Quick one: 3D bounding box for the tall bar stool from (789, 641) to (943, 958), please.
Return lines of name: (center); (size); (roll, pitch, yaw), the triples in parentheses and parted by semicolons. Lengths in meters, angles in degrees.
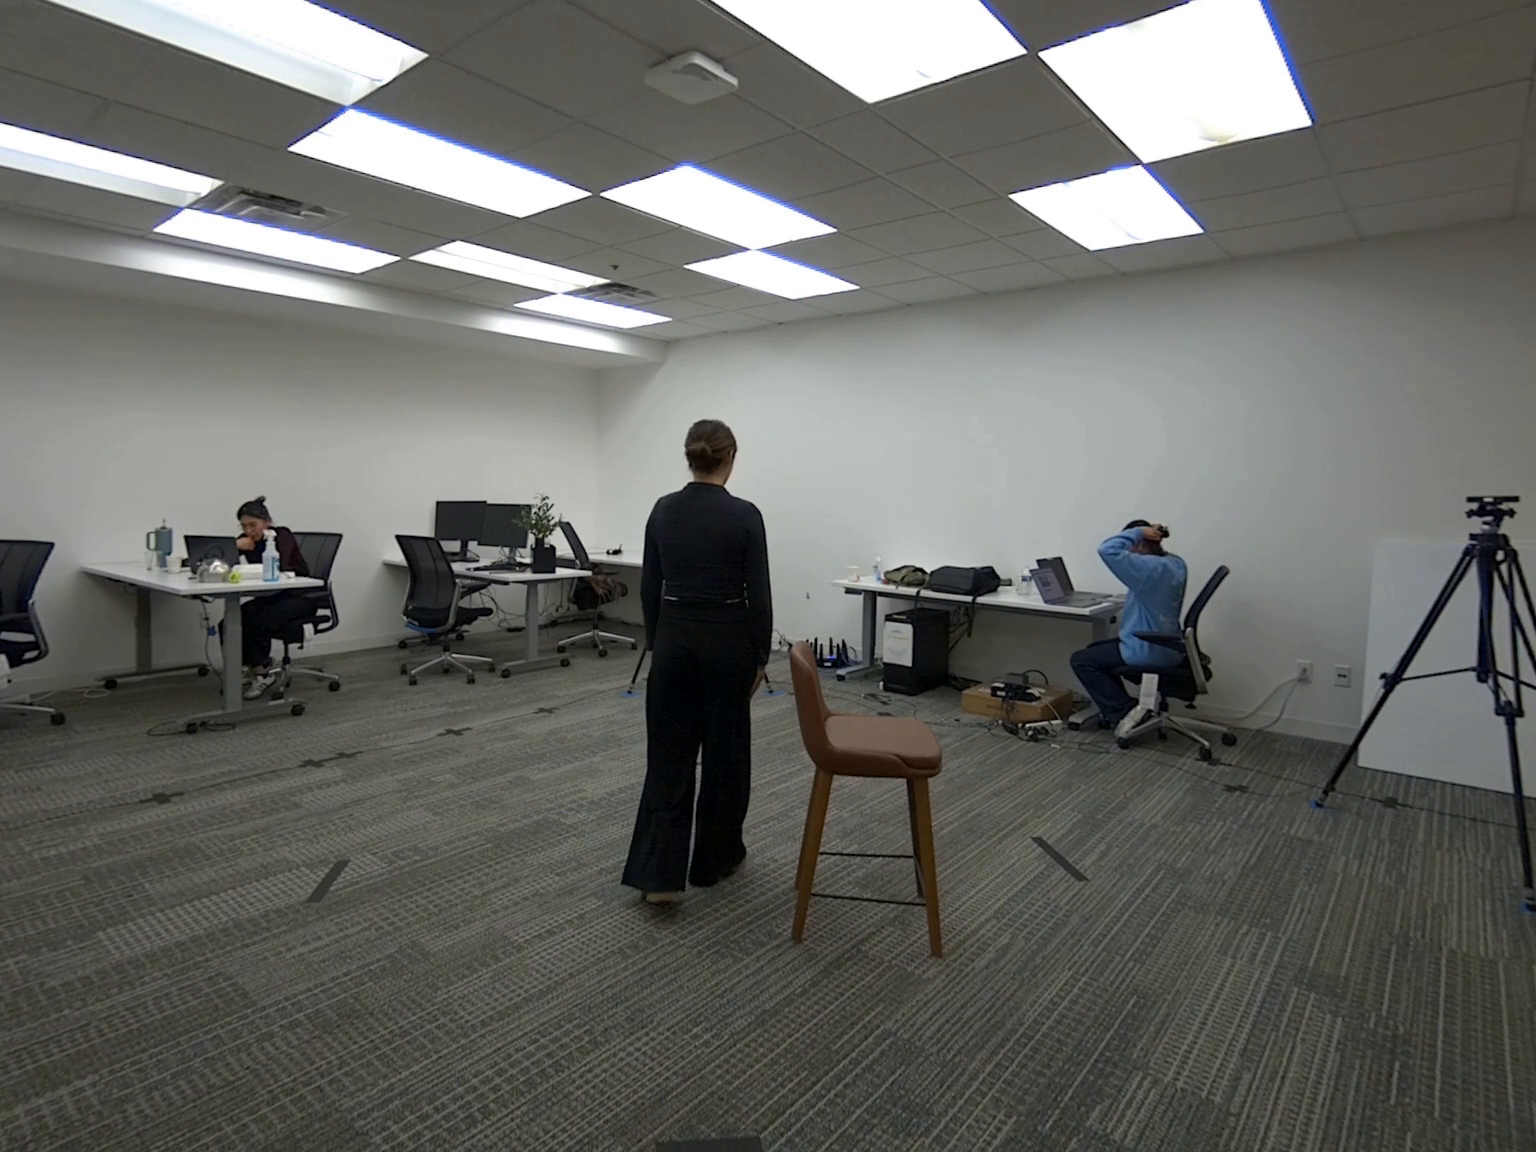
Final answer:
tall bar stool: (0.308, 0.677, 2.746); (0.471, 0.887, 0.454); (0, 3, 6)
